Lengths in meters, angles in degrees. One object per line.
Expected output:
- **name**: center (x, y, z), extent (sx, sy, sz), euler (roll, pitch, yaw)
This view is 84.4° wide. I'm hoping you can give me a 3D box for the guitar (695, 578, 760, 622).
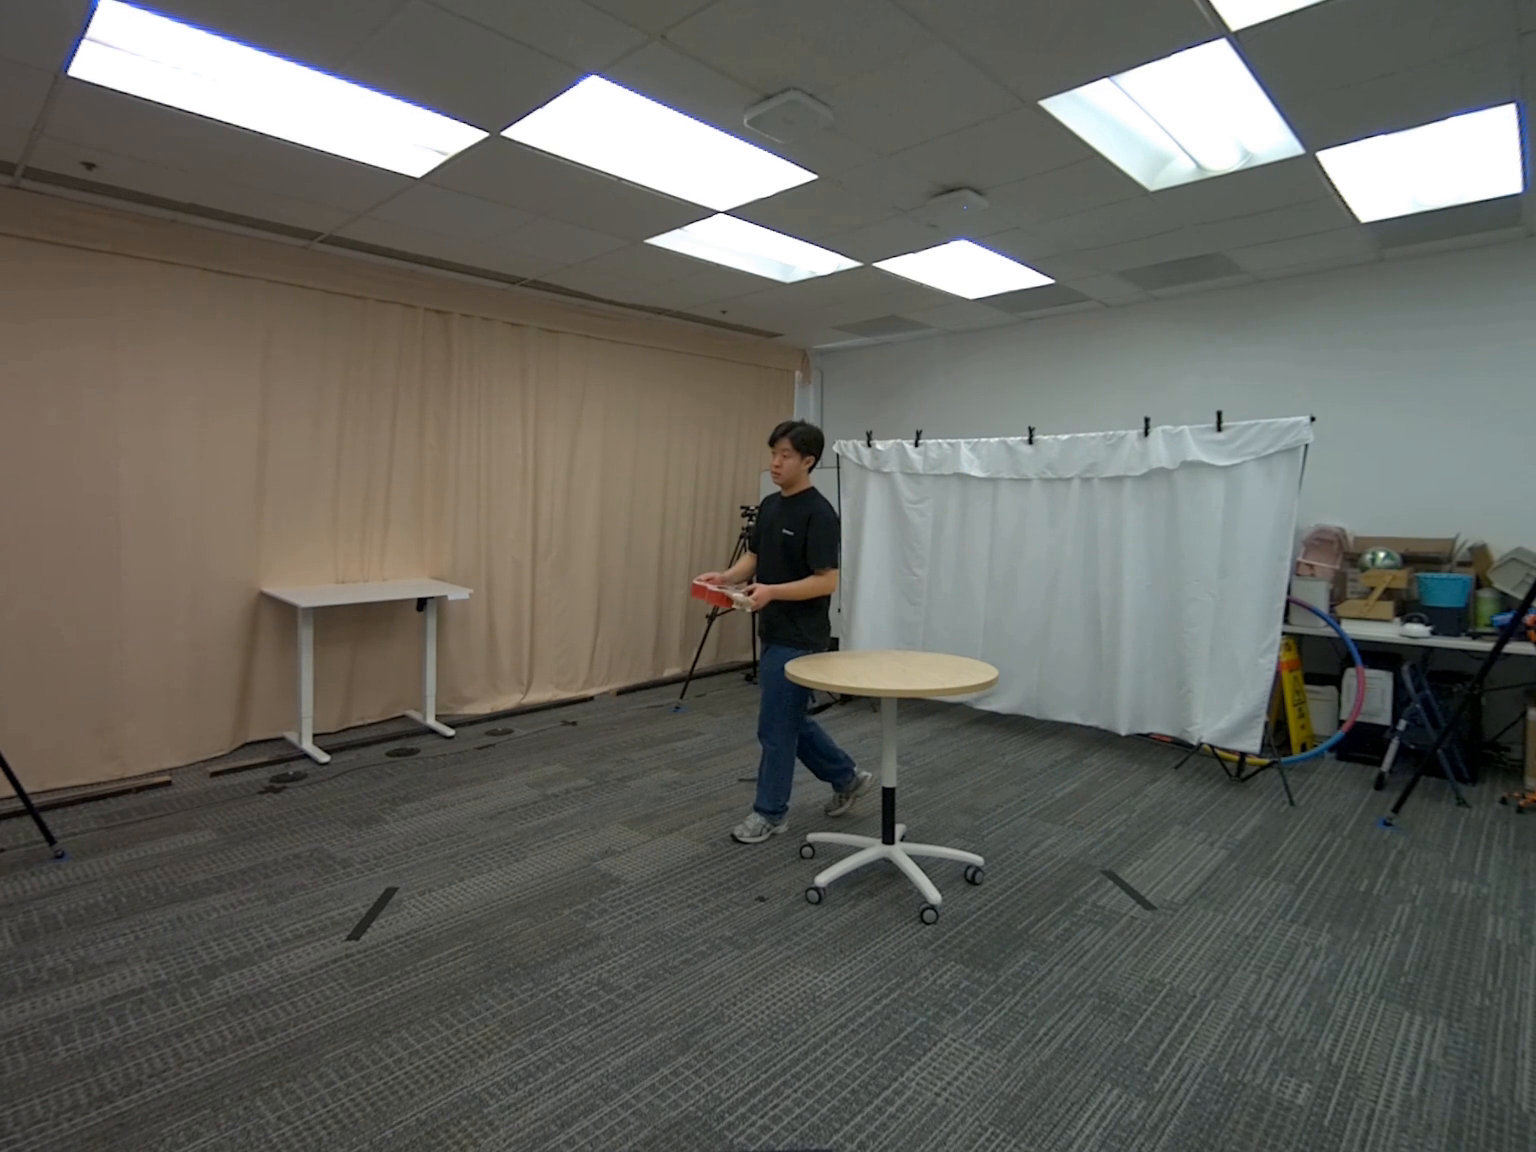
- **guitar**: center (-0.131, 0.085, 3.229), extent (0.190, 0.070, 0.508), euler (4, 7, -17)
